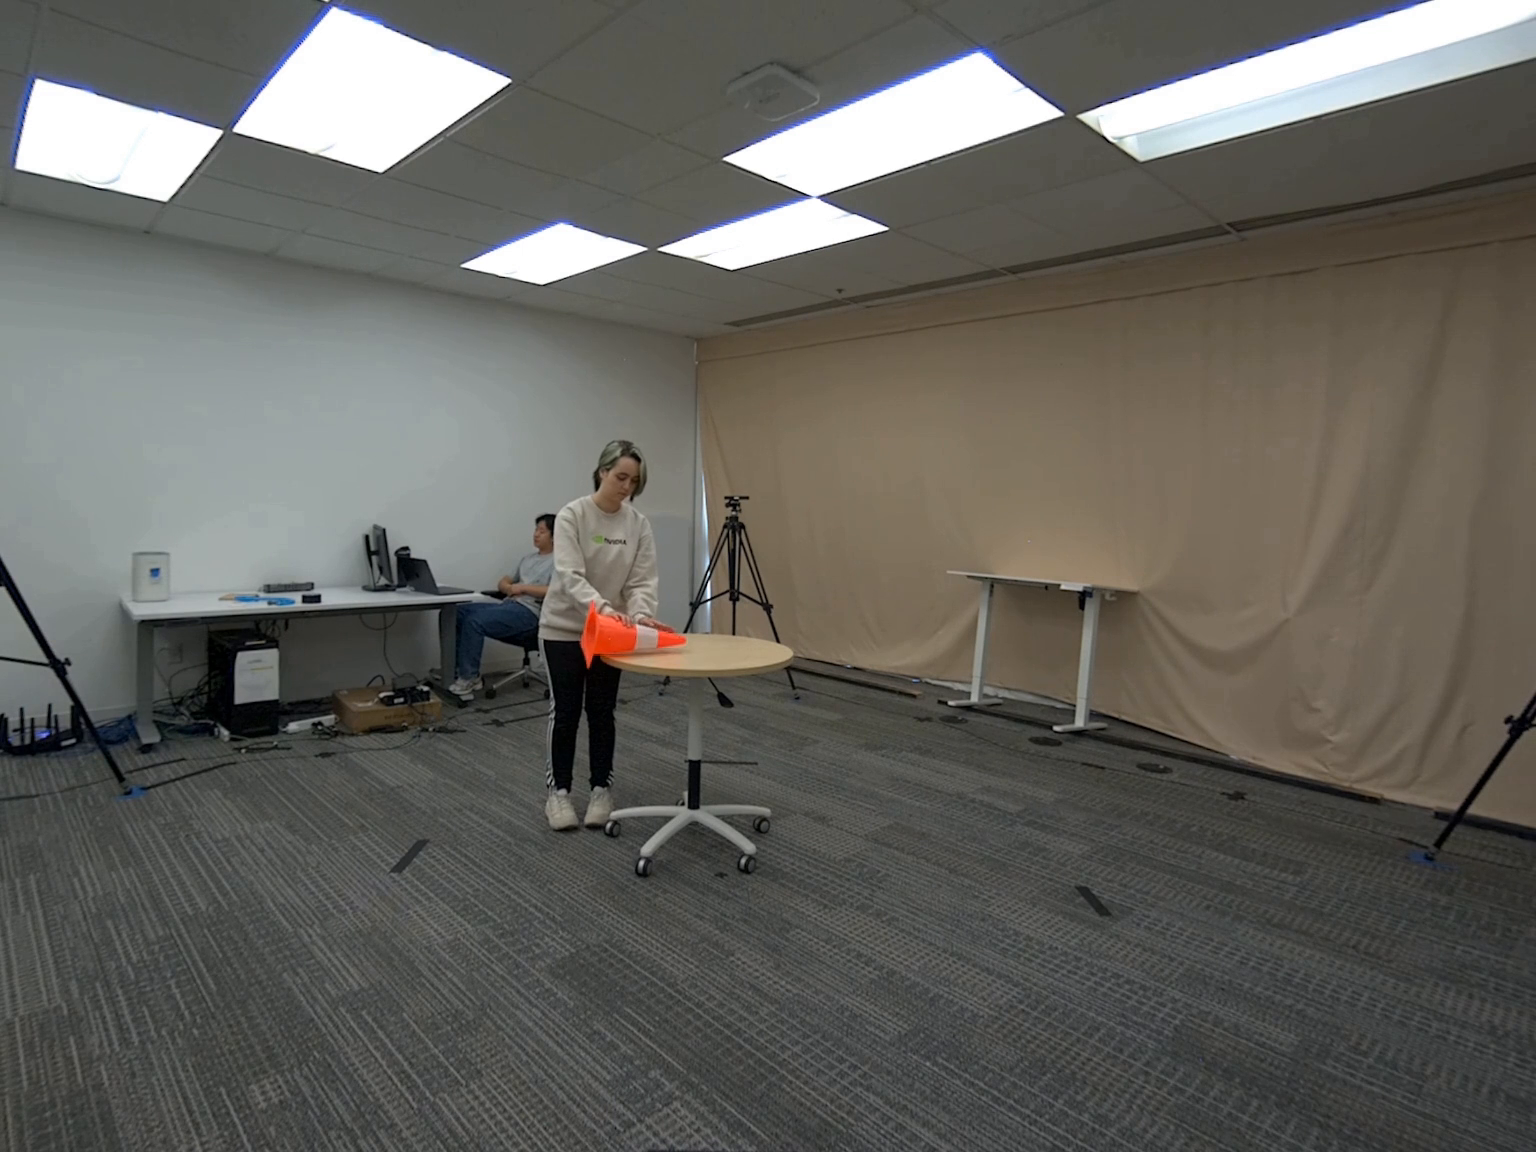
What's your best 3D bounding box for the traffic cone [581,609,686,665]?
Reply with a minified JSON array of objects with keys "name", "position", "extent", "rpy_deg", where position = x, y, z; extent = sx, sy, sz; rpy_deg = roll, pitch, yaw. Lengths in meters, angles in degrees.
[{"name":"traffic cone","position":[-0.509,0.225,3.223],"extent":[0.377,0.203,0.209],"rpy_deg":[6,23,-23]}]
